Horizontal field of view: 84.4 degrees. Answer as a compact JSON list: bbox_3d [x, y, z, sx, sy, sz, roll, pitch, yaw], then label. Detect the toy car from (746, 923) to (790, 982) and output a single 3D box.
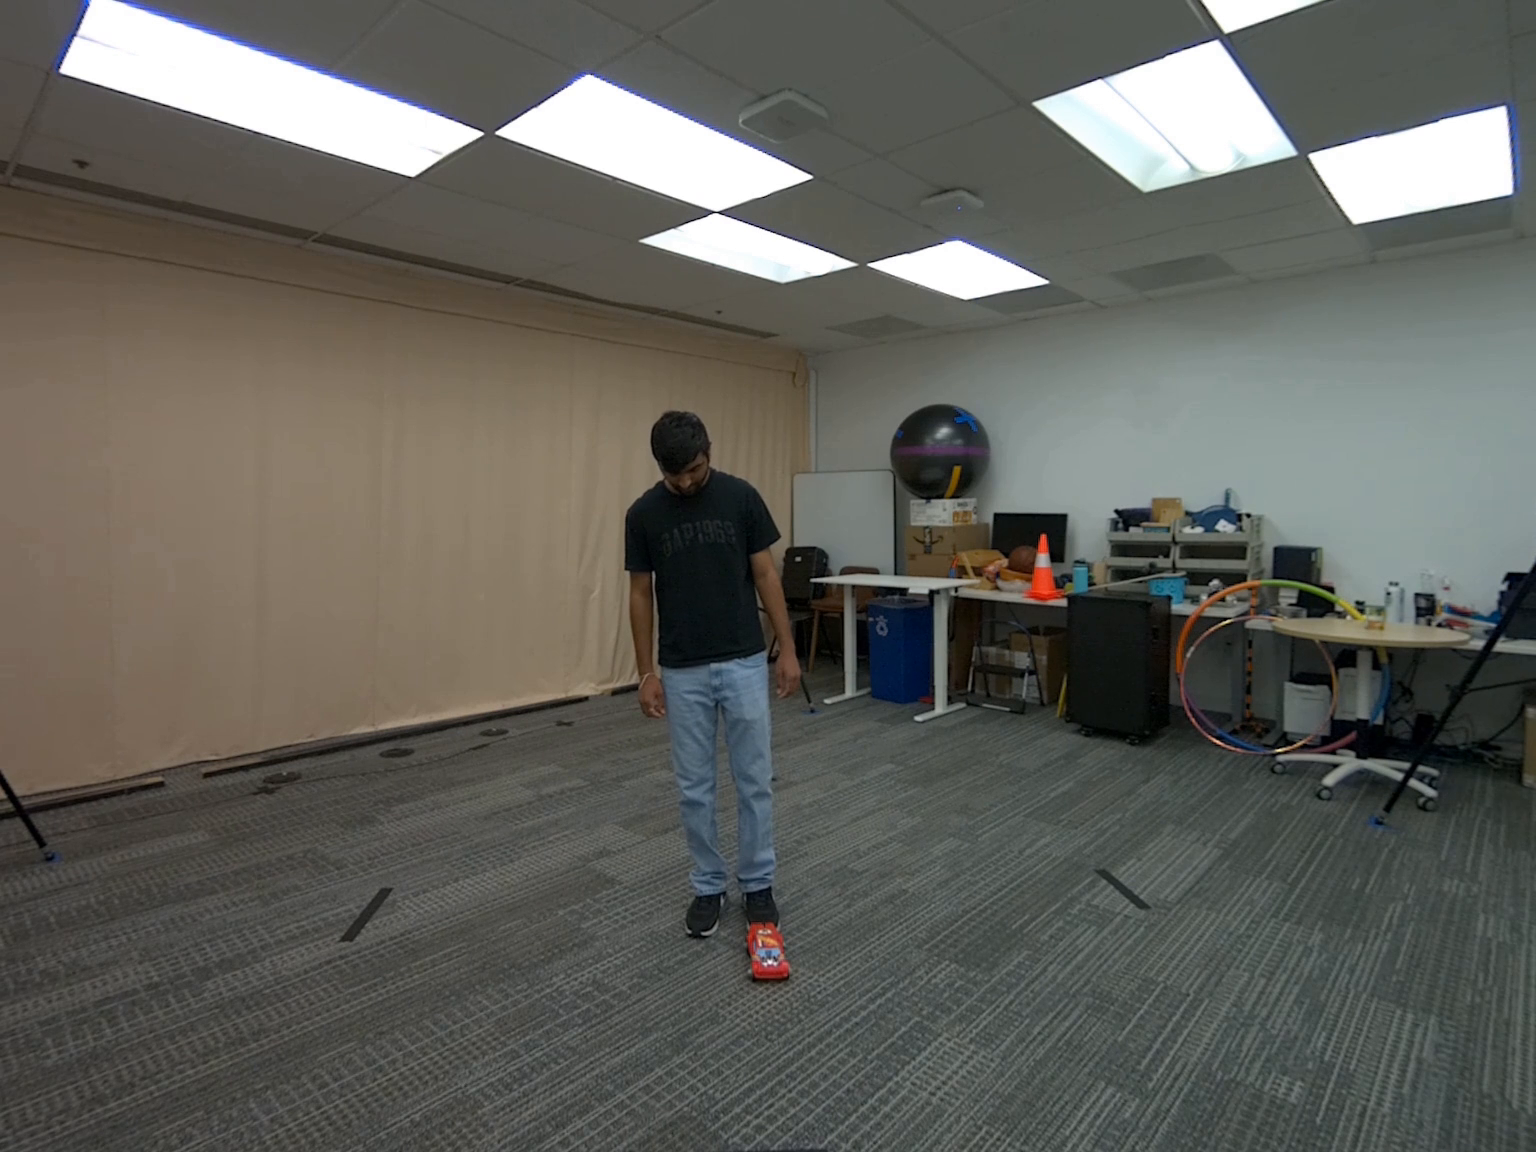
[{"bbox_3d":[-0.005,1.141,2.573,0.130,0.082,0.258,-1,16,-5],"label":"toy car"}]
